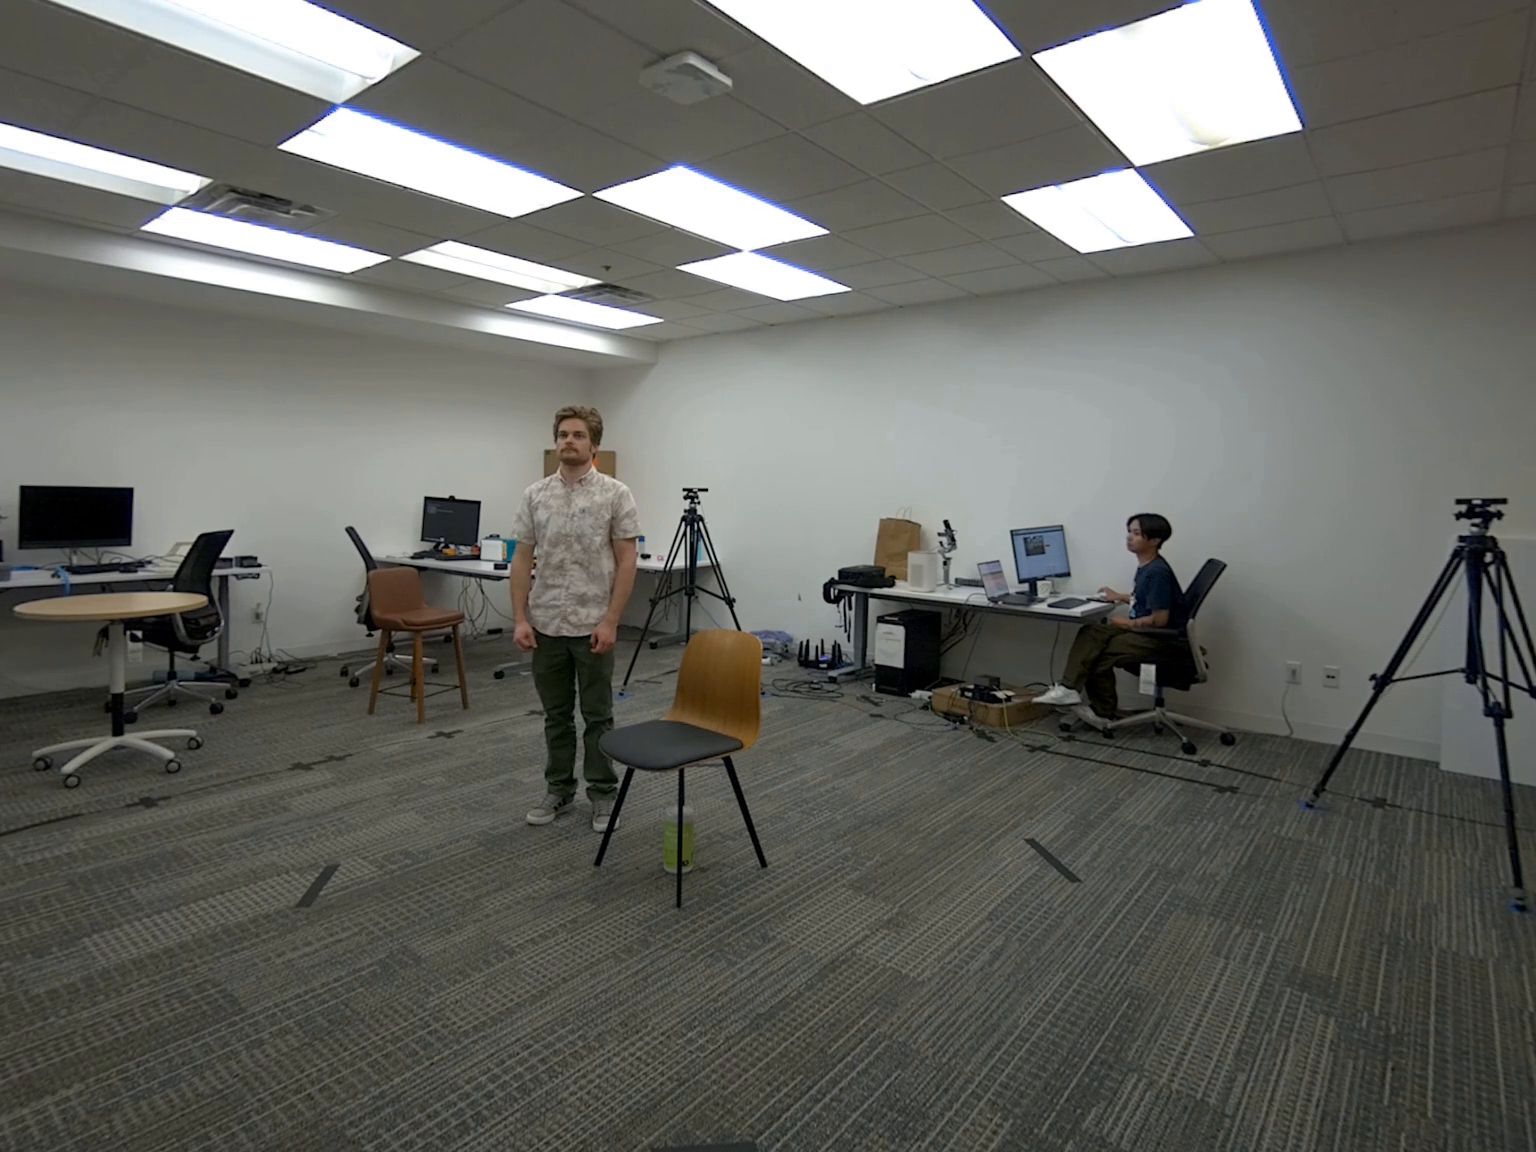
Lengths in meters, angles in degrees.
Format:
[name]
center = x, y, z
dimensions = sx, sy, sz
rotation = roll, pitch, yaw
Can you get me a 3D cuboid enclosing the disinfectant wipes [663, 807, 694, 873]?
[disinfectant wipes]
center = -0.338, 0.973, 3.115
dimensions = 0.117, 0.217, 0.118
rotation = 3, 2, -2
